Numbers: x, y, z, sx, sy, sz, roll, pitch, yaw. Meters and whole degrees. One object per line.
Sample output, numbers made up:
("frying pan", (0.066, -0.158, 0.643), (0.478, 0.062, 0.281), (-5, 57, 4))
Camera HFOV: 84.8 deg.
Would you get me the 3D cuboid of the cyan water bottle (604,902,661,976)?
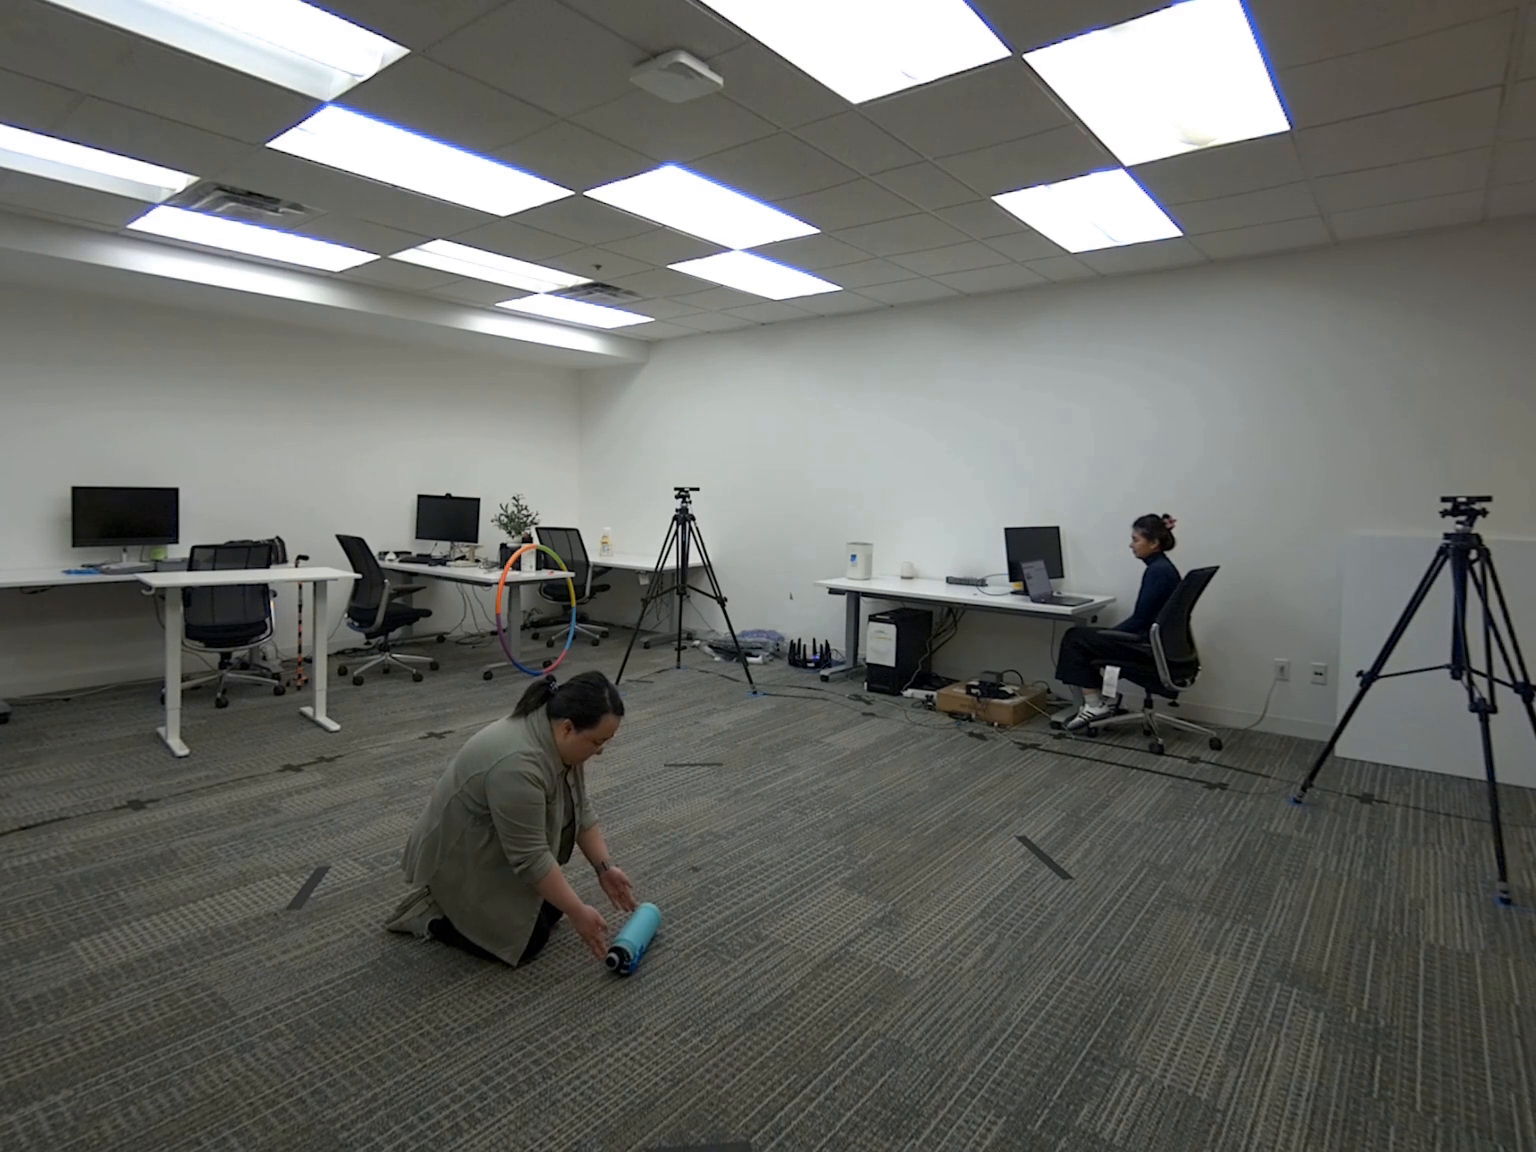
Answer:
("cyan water bottle", (-0.407, 1.075, 2.518), (0.093, 0.092, 0.281), (2, 5, 10))
